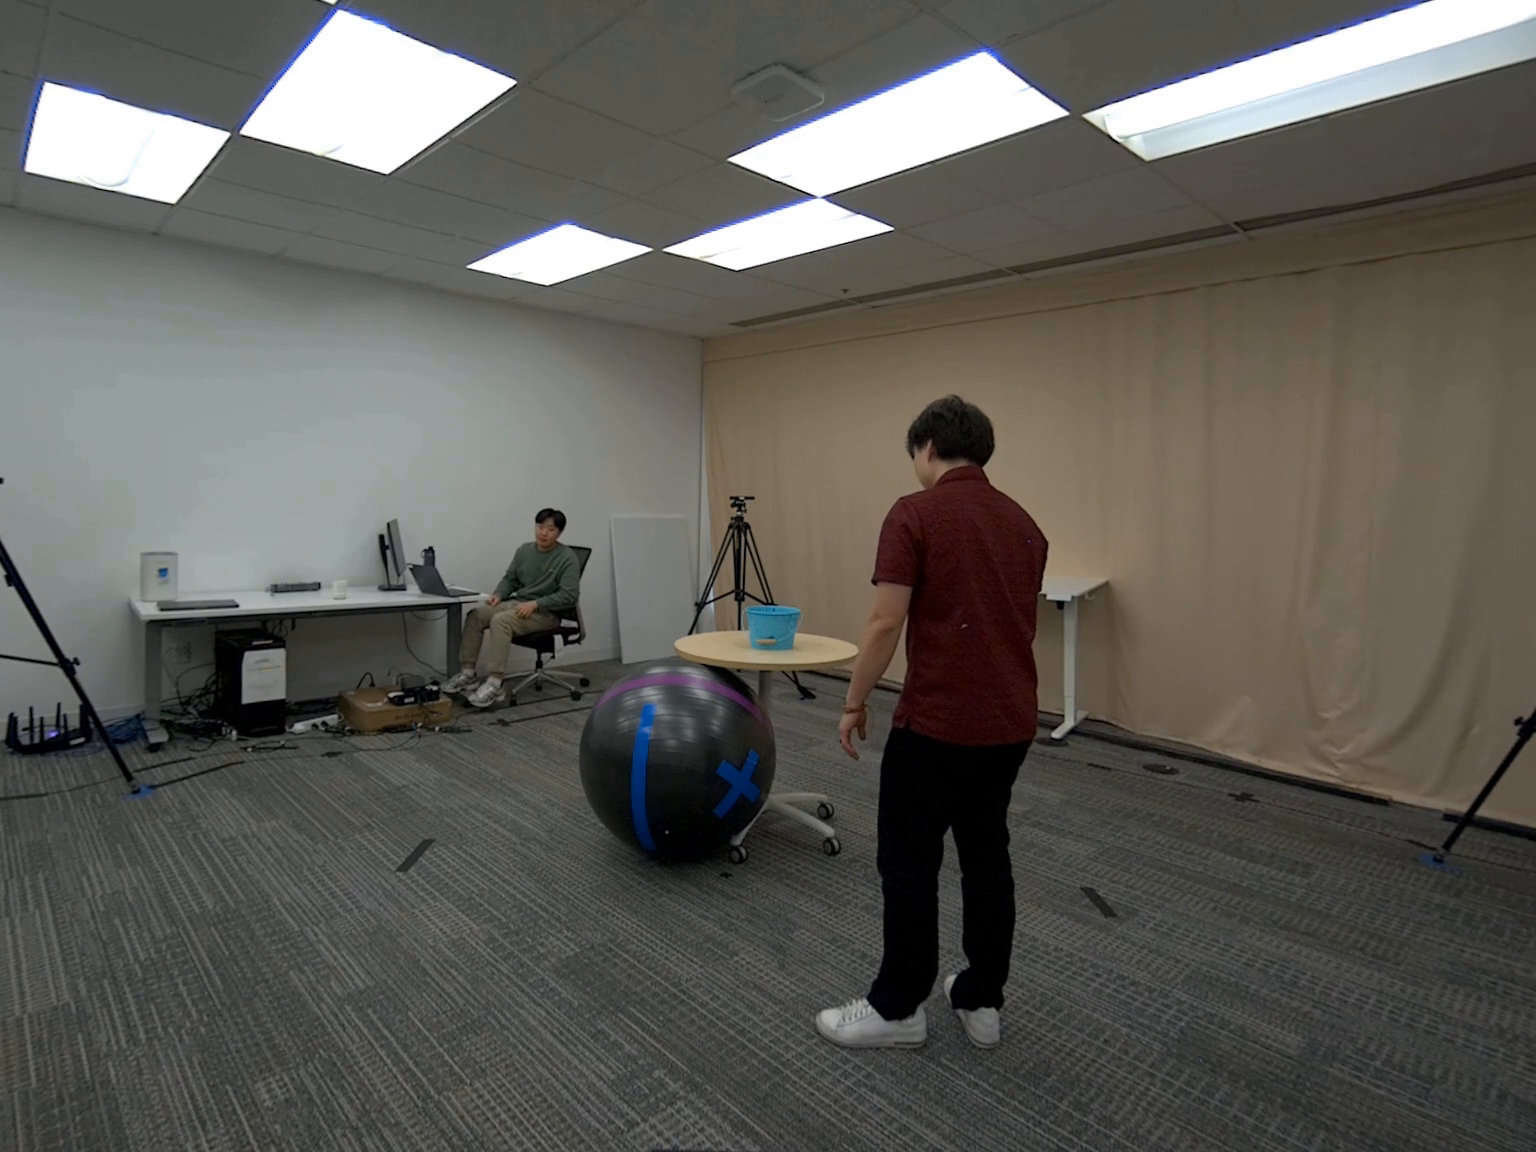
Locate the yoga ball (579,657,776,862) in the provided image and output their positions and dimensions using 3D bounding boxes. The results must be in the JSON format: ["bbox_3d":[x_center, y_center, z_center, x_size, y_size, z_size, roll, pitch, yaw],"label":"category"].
[{"bbox_3d":[-0.359,0.703,3.276,0.757,0.756,0.761,1,4,-1],"label":"yoga ball"}]
